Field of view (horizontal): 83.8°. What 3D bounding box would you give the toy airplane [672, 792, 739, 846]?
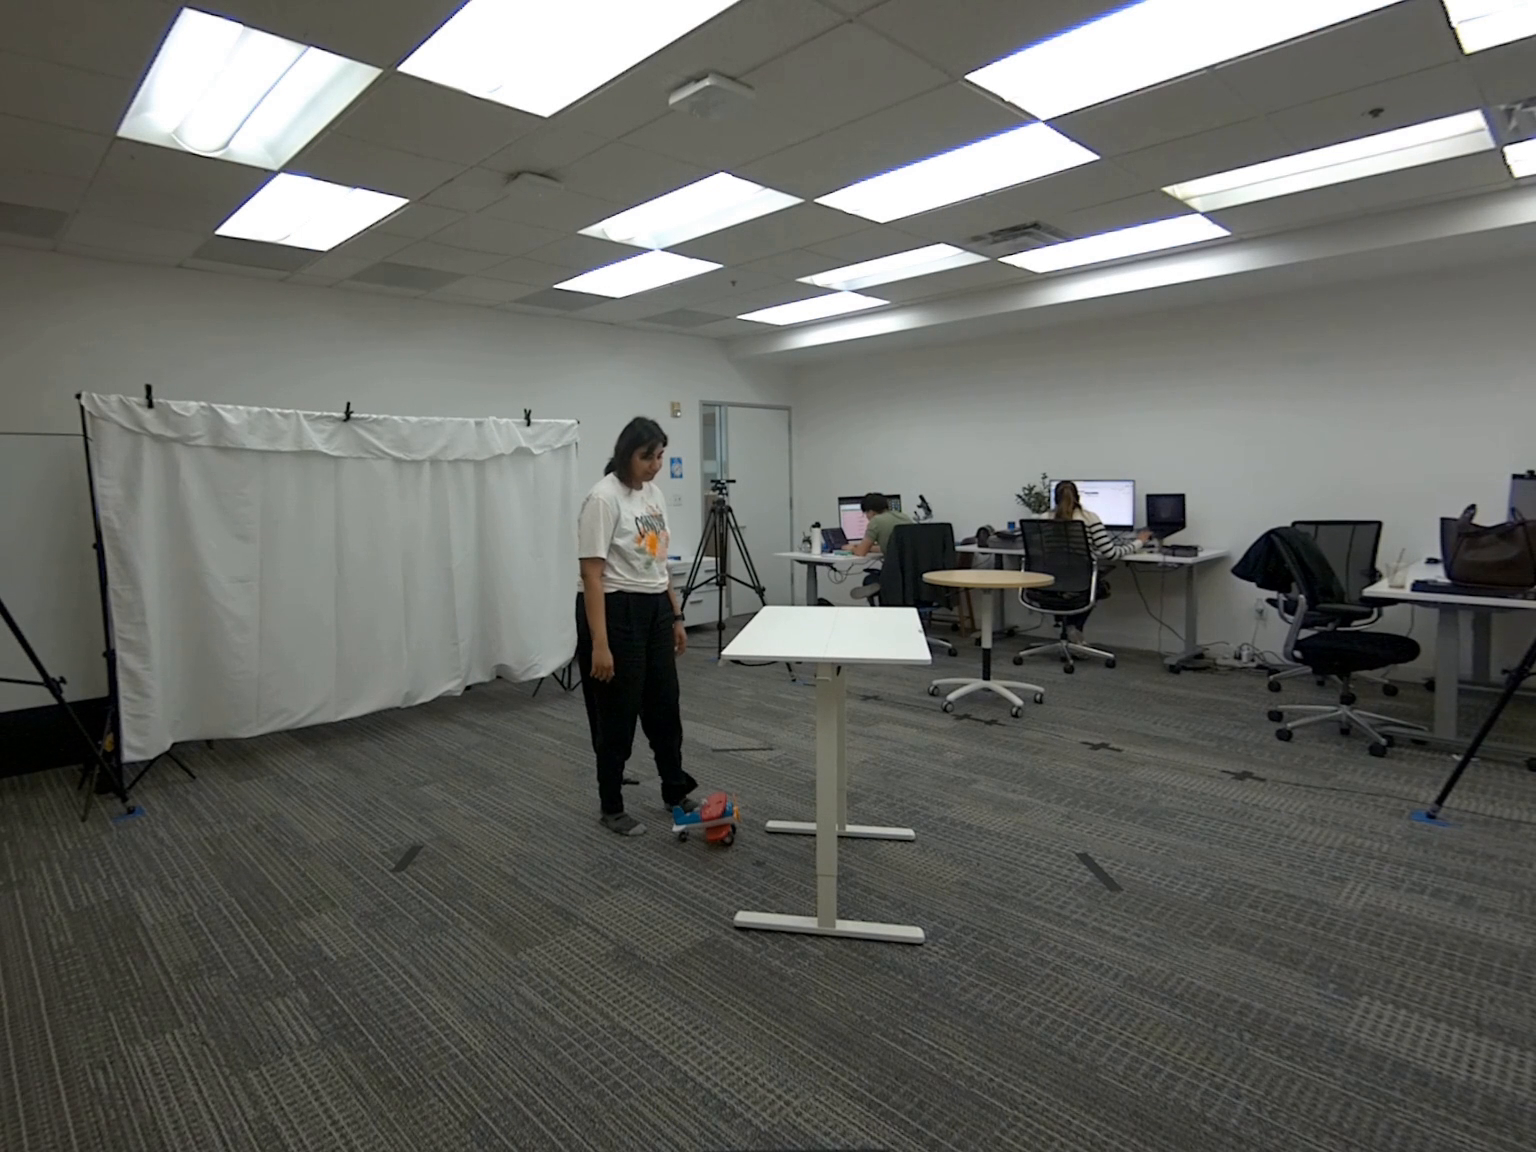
[{"bbox_3d":[-0.235,0.953,3.296,0.254,0.156,0.257,-3,4,-25],"label":"toy airplane"}]
